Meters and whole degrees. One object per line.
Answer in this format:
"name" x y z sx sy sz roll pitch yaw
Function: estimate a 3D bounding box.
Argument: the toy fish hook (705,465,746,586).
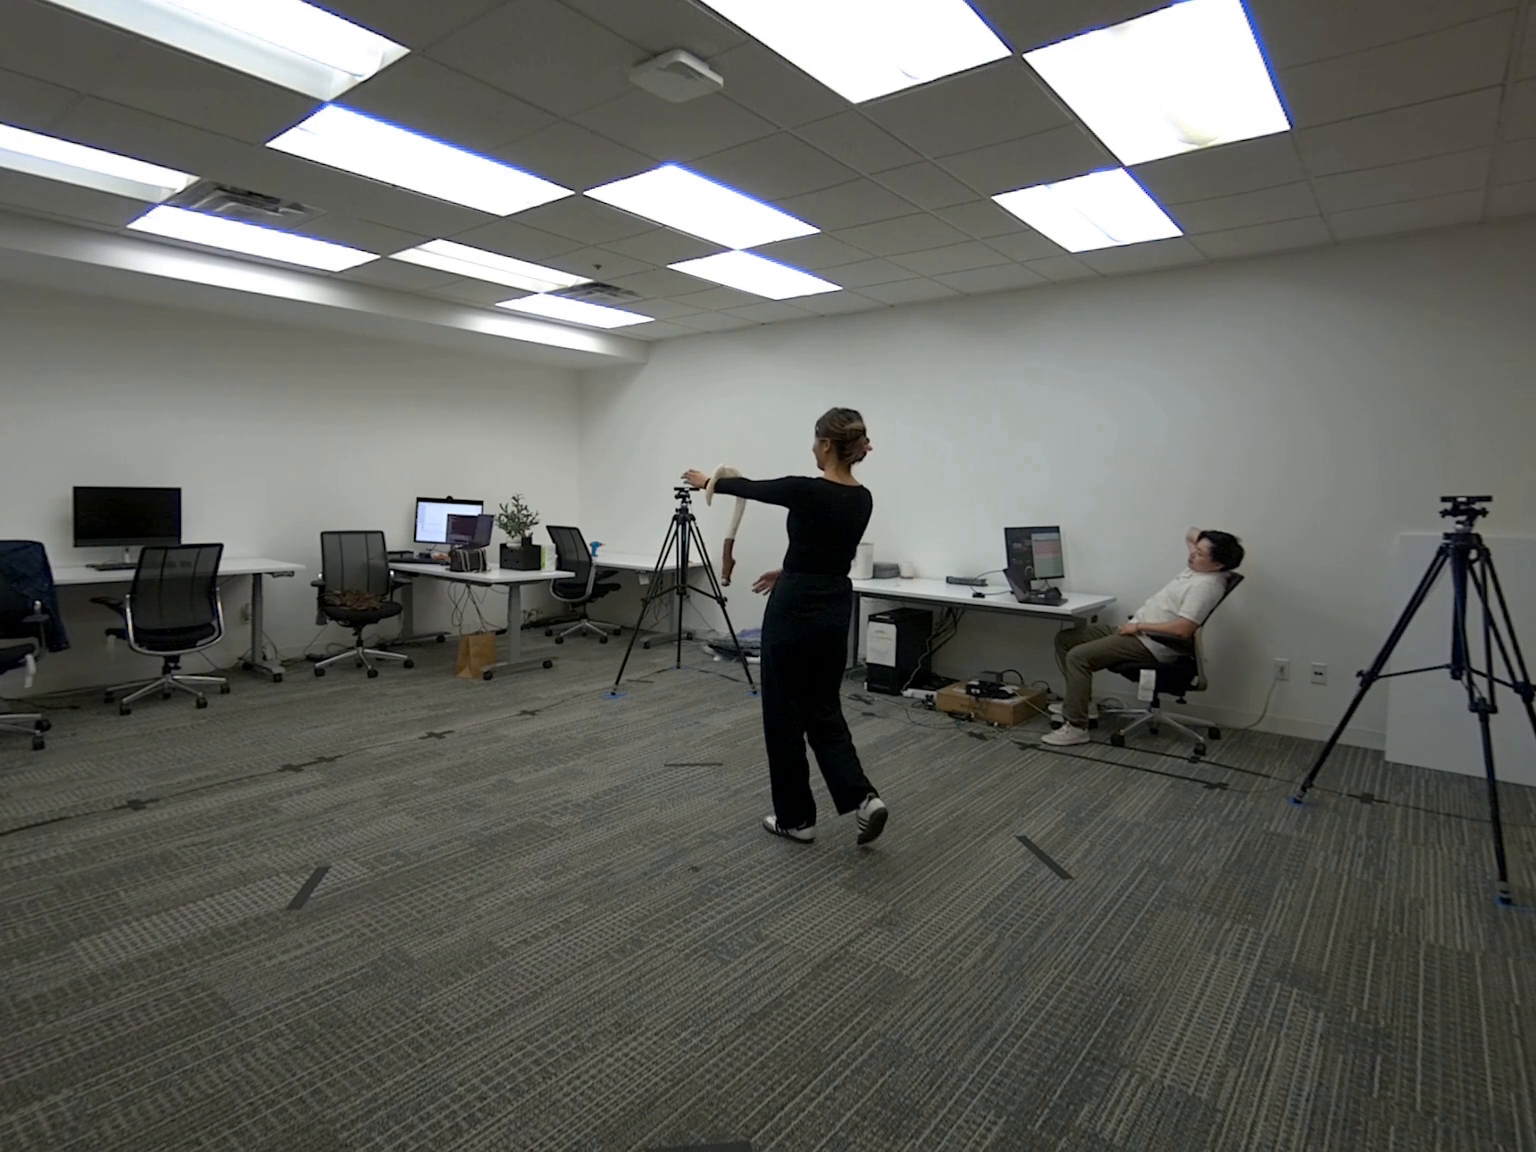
"toy fish hook" -0.205 -0.215 3.558 0.217 0.511 0.049 14 -14 -35
